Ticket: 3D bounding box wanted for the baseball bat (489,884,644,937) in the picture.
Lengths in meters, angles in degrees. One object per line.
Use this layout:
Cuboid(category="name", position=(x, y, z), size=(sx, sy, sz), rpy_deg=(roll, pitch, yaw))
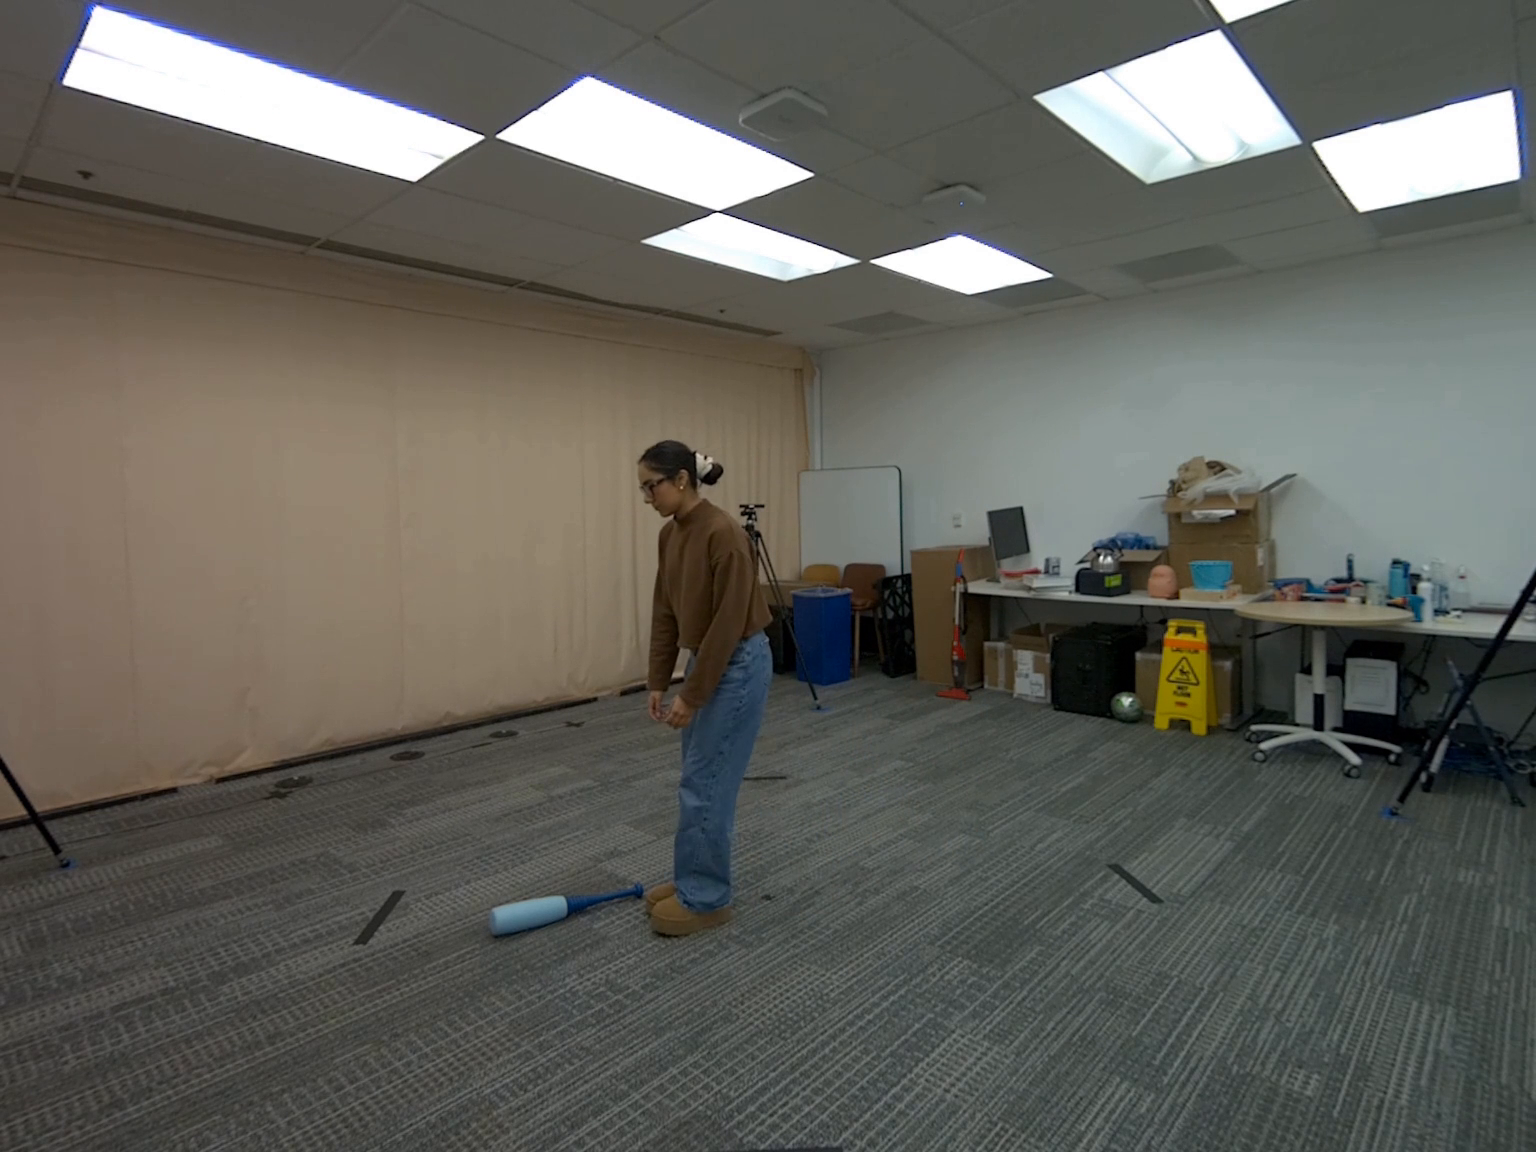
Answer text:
Cuboid(category="baseball bat", position=(-0.678, 1.137, 2.877), size=(0.528, 0.089, 0.092), rpy_deg=(0, 3, -30))
